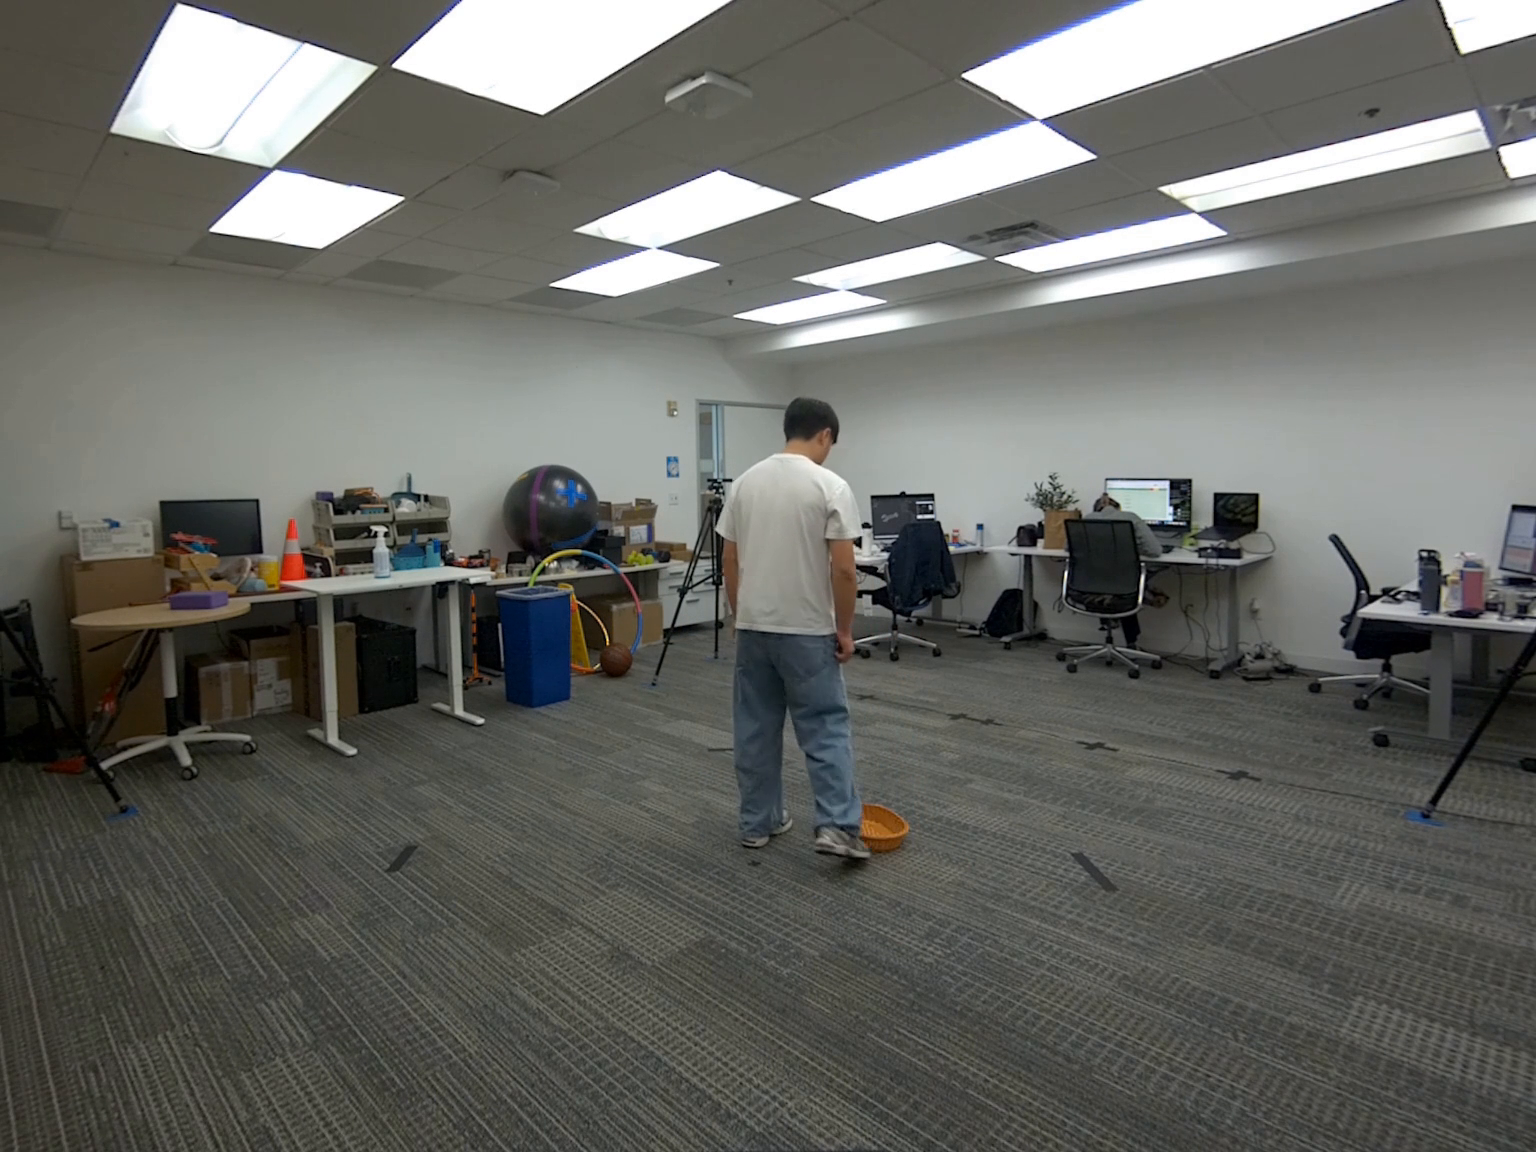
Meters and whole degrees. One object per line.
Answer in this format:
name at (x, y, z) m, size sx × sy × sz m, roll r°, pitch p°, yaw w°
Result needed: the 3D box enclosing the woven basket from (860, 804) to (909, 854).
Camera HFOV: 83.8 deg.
woven basket at (0.393, 0.971, 3.315) m, size 0.248 × 0.073 × 0.358 m, roll -3°, pitch 7°, yaw -20°
